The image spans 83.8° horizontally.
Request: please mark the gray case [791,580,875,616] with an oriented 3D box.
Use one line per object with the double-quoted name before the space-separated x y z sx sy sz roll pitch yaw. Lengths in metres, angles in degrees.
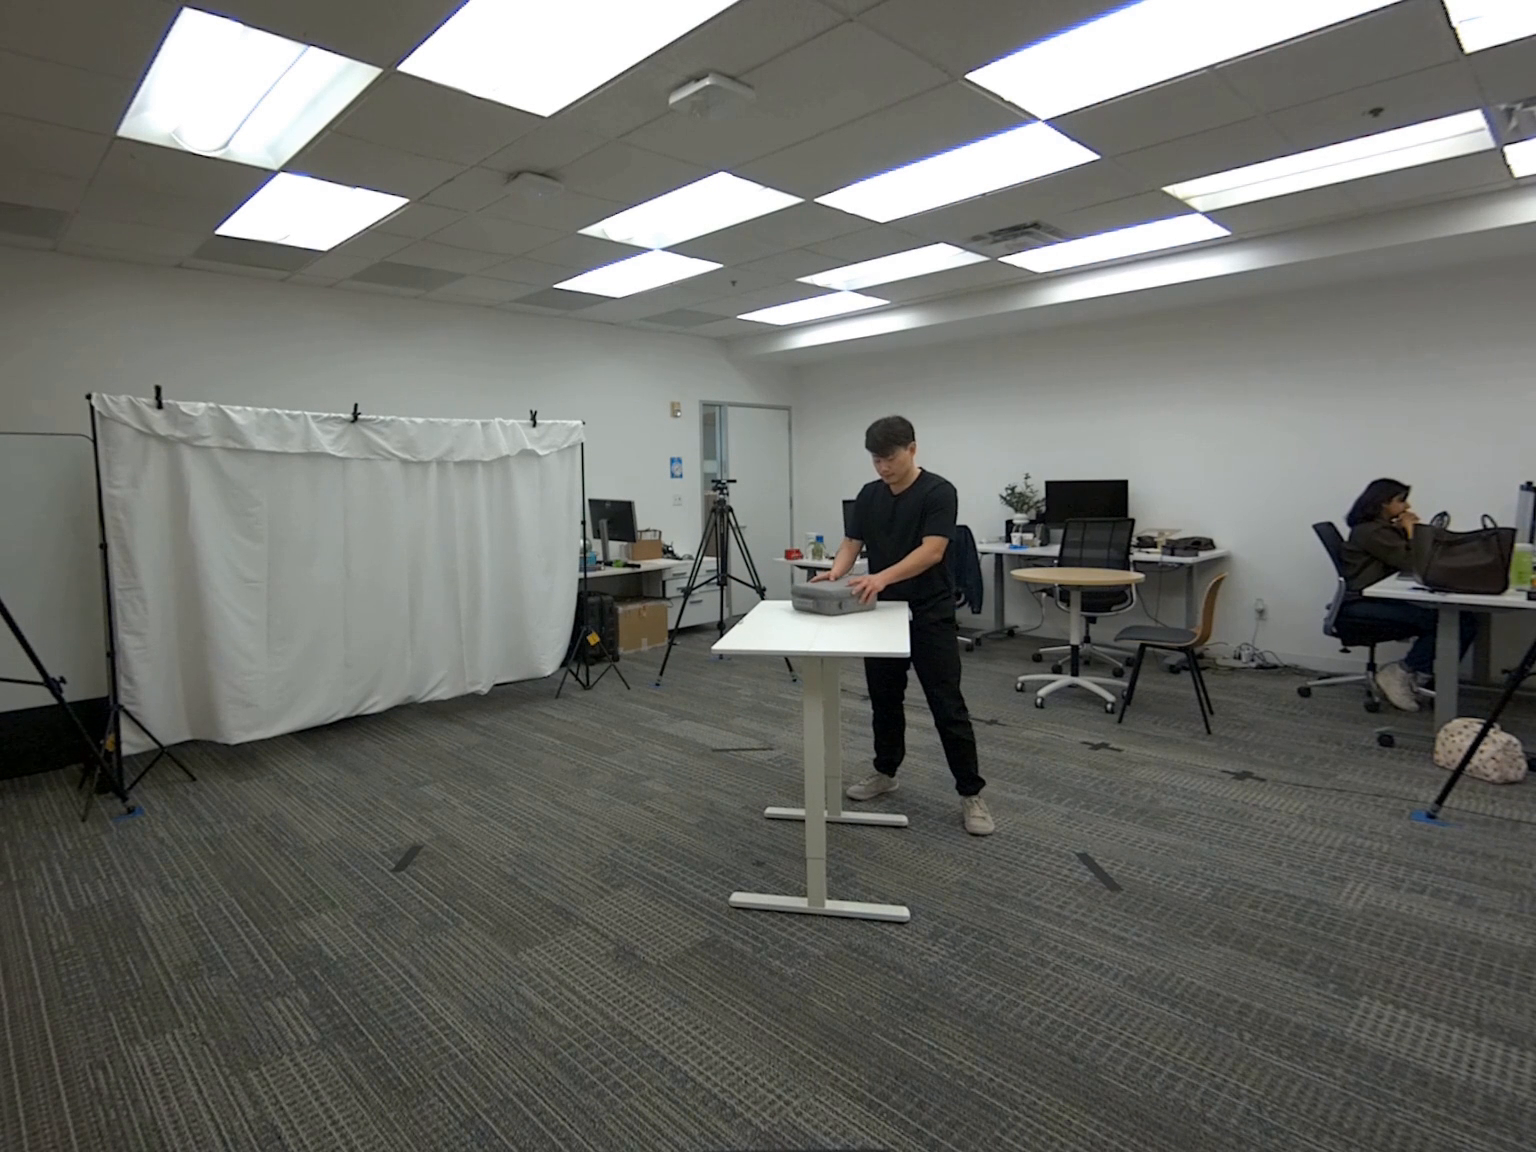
"gray case" 0.259 0.083 3.320 0.254 0.104 0.265 -6 10 -34
